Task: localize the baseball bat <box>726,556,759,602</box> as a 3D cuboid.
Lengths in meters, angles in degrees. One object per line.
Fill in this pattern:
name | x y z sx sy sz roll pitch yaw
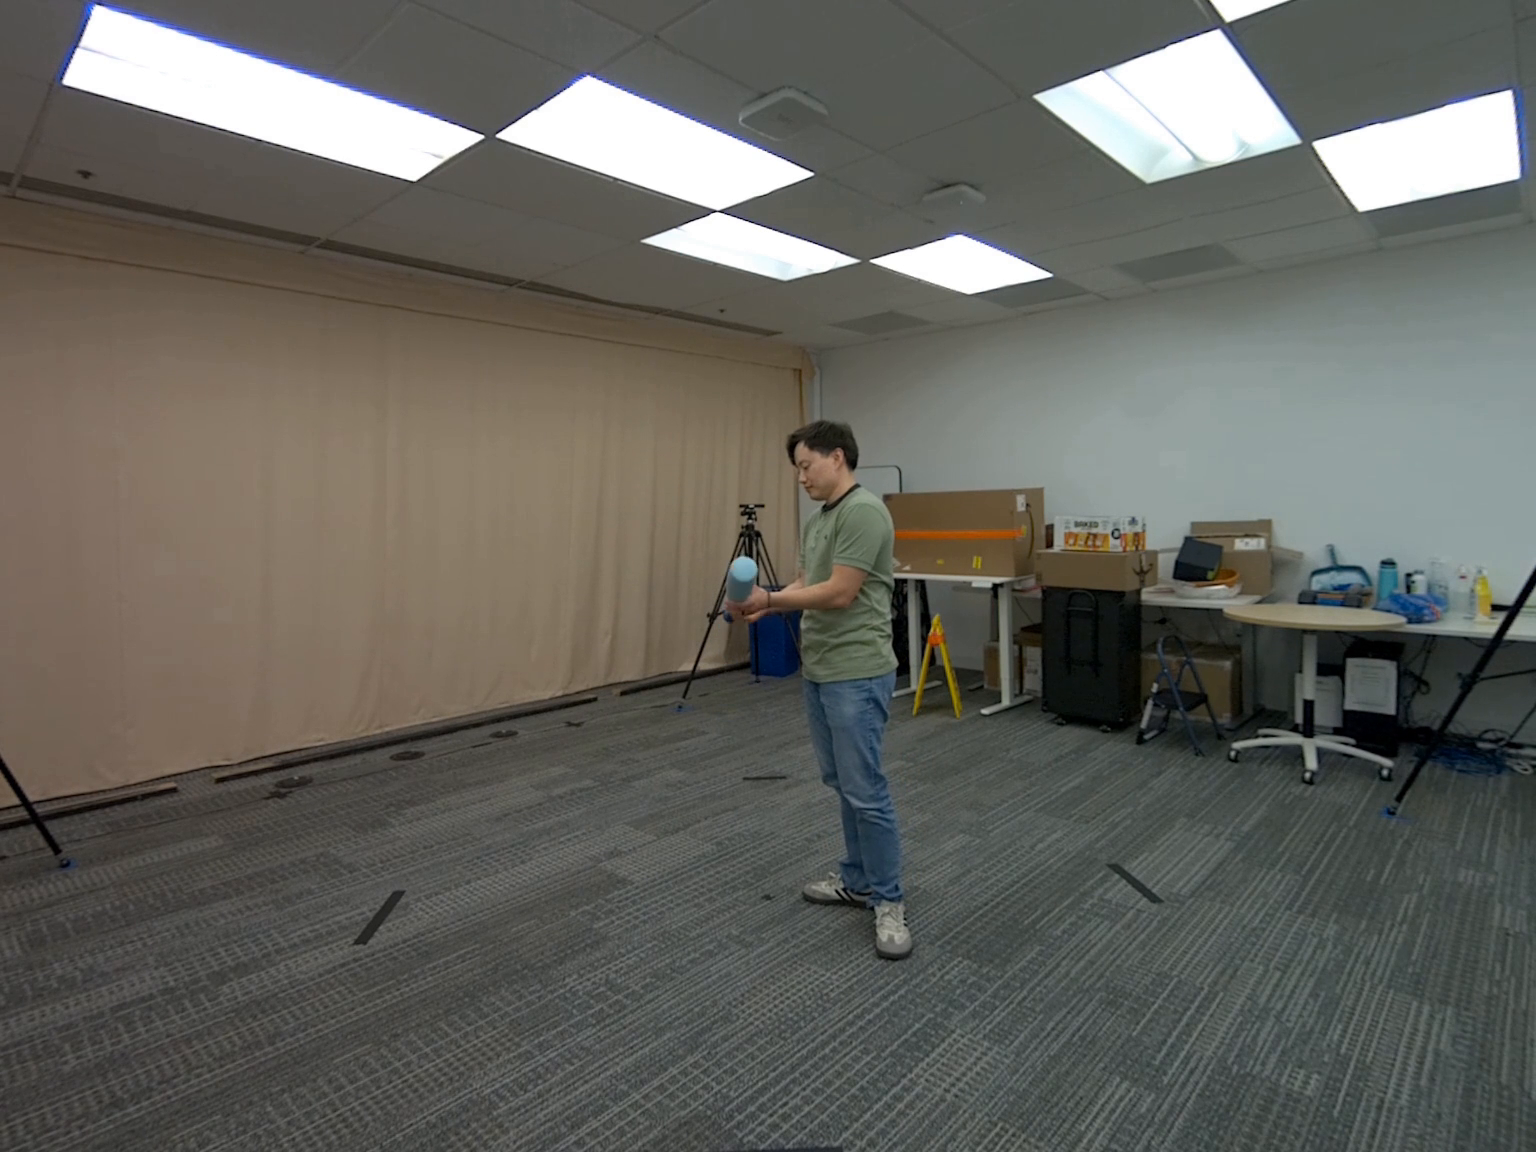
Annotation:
baseball bat | -0.096 0.069 2.731 0.088 0.090 0.539 -1 -18 -6
